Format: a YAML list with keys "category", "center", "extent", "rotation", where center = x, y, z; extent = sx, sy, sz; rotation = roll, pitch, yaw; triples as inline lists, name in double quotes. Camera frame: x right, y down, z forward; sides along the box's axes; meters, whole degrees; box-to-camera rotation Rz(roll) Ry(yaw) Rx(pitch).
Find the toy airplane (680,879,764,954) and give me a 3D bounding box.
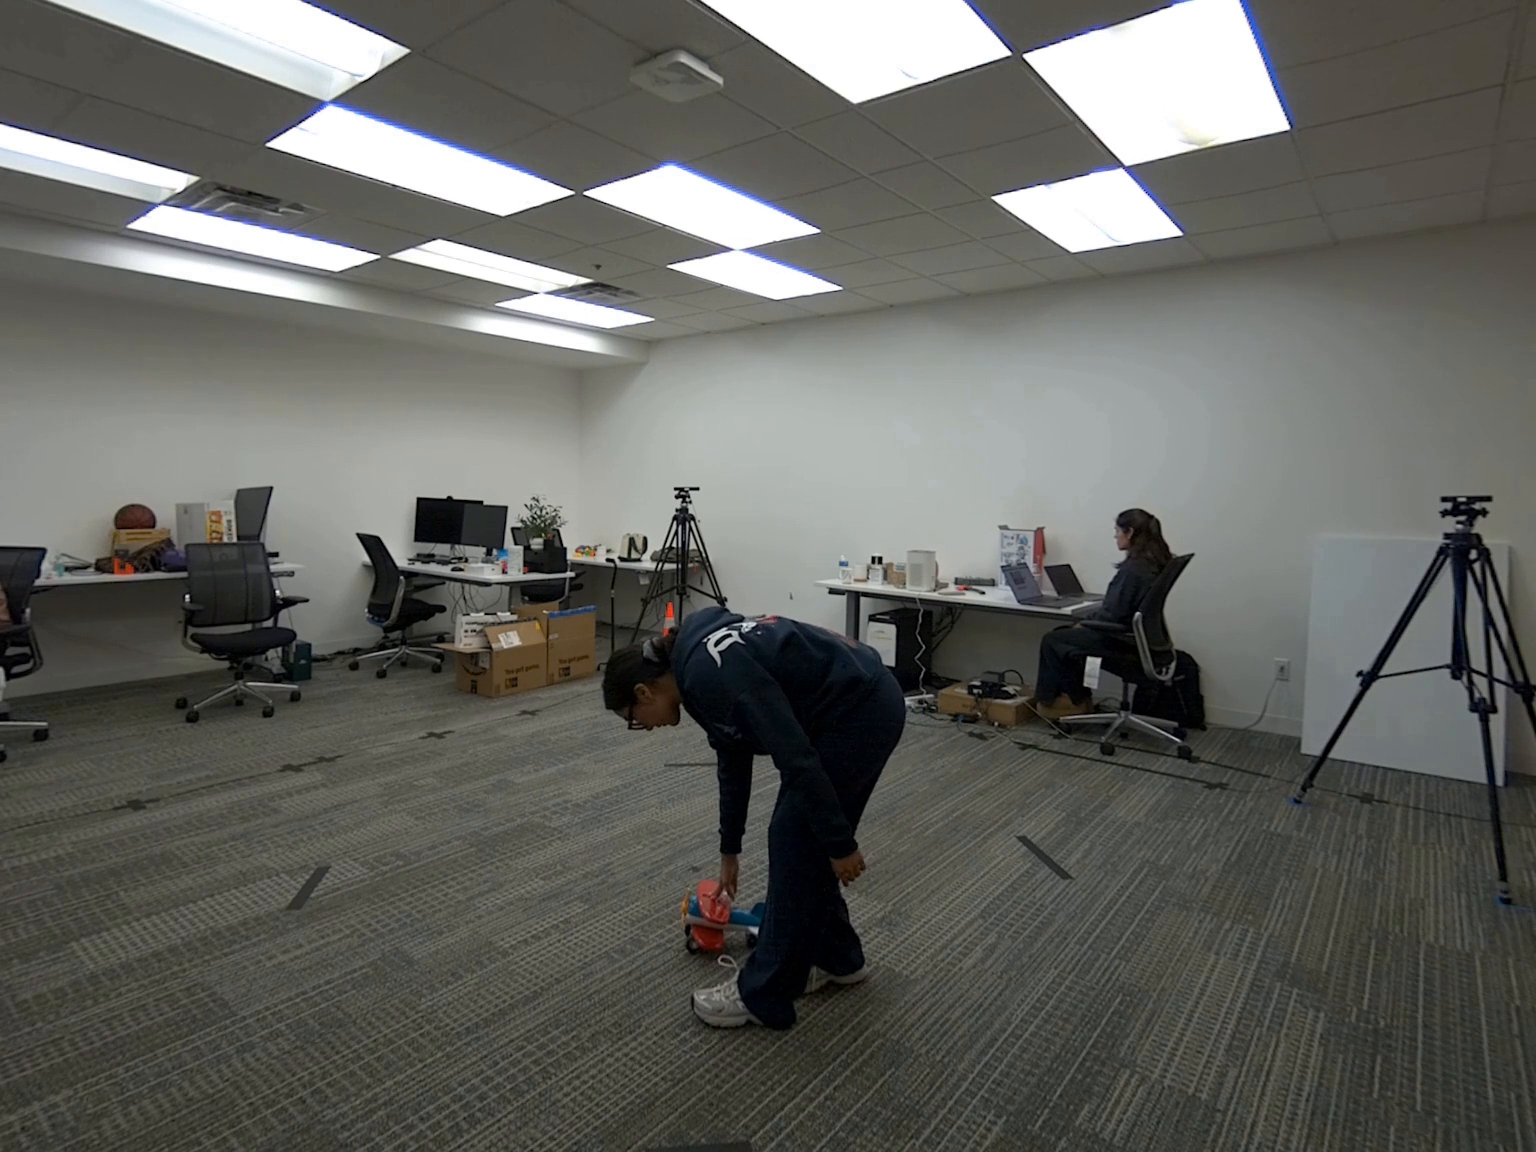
- category: "toy airplane"
  center: [-0.148, 1.043, 2.604]
  extent: [0.252, 0.156, 0.259]
  rotation: [-2, 5, -32]
